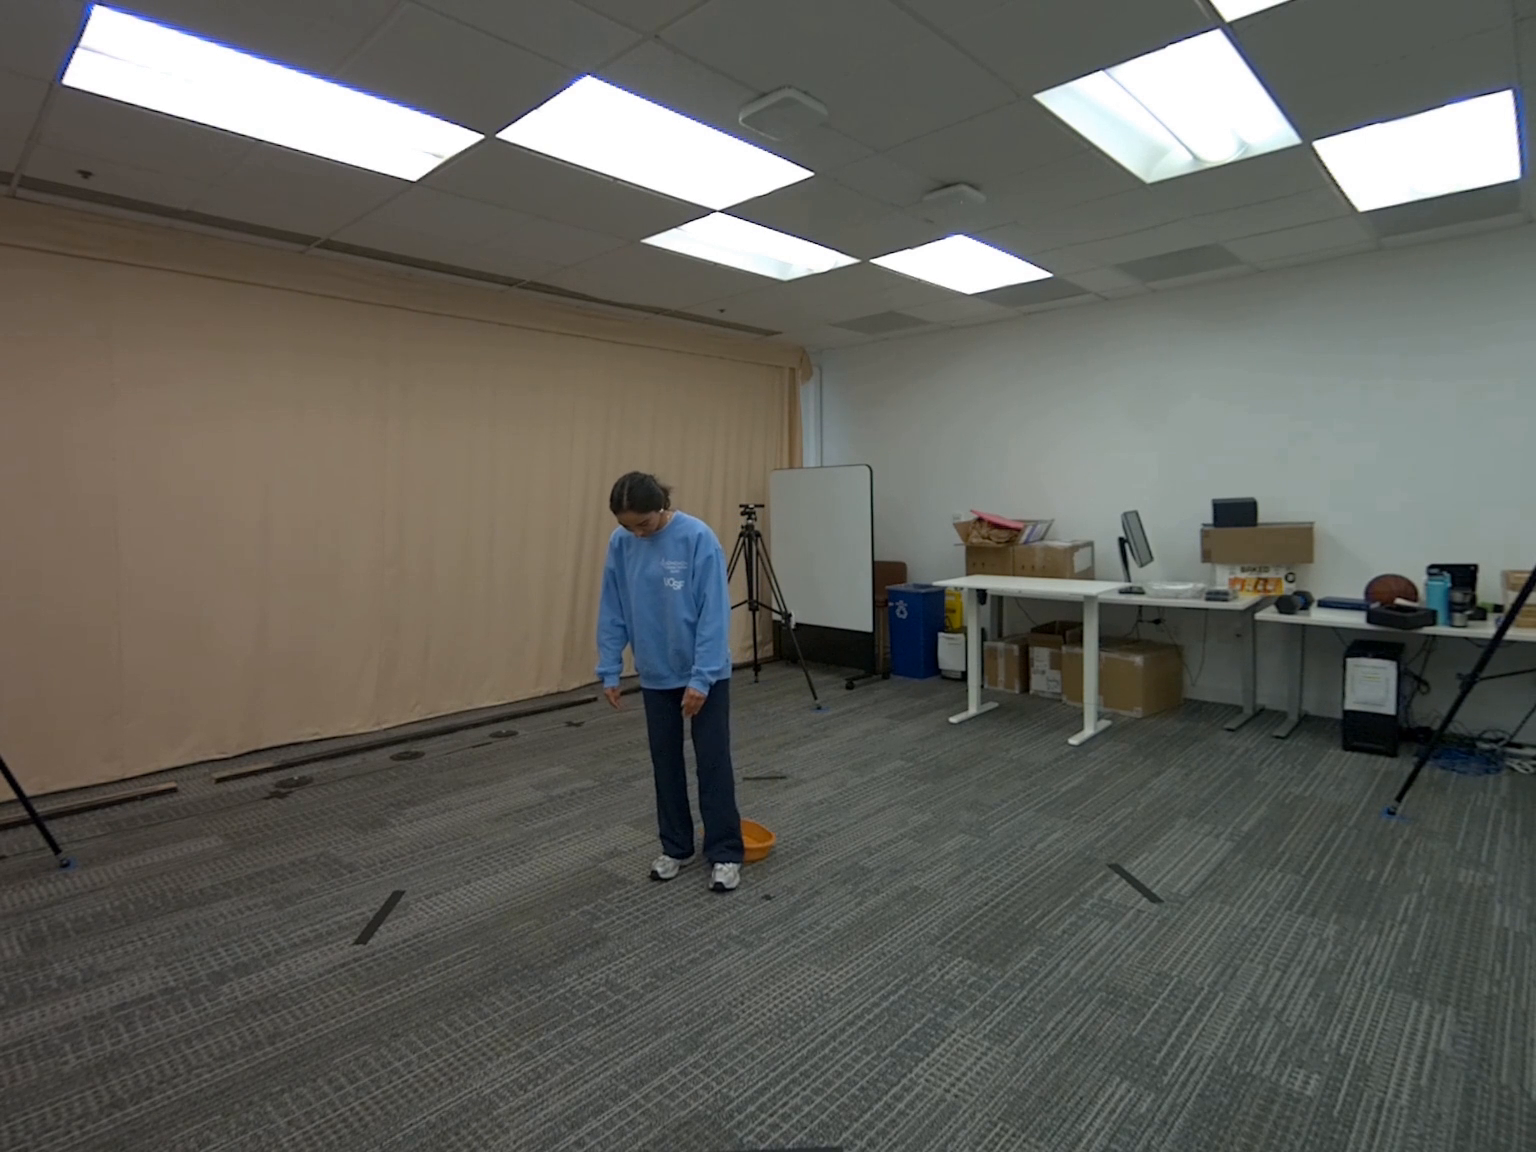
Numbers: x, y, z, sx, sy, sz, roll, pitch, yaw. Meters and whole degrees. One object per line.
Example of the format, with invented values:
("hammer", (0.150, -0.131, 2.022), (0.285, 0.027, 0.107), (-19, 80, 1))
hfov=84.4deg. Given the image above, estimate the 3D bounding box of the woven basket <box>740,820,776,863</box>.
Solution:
("woven basket", (-0.120, 1.061, 3.407), (0.246, 0.073, 0.359), (-1, 2, -24))
